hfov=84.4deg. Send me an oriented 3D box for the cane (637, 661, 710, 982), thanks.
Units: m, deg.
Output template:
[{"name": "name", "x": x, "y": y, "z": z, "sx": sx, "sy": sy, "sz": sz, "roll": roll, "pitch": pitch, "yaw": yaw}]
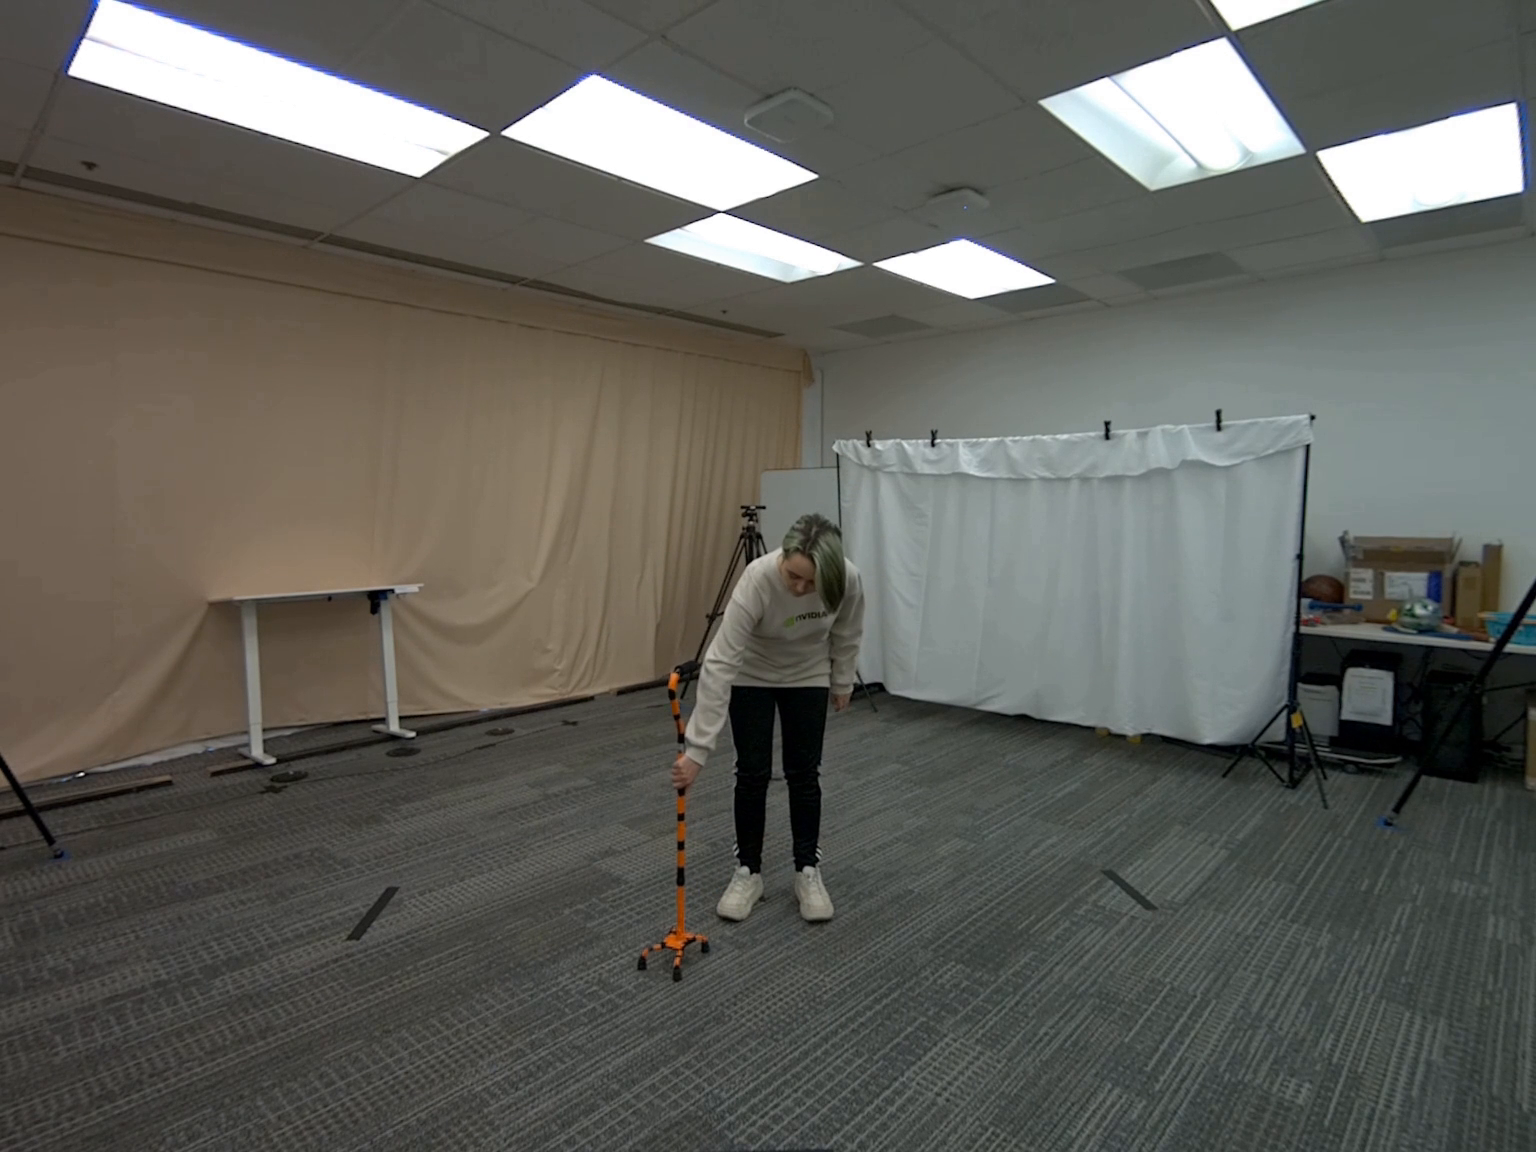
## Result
[{"name": "cane", "x": -0.279, "y": 0.718, "z": 2.554, "sx": 0.155, "sy": 0.905, "sz": 0.202, "roll": 3, "pitch": 5, "yaw": 24}]
